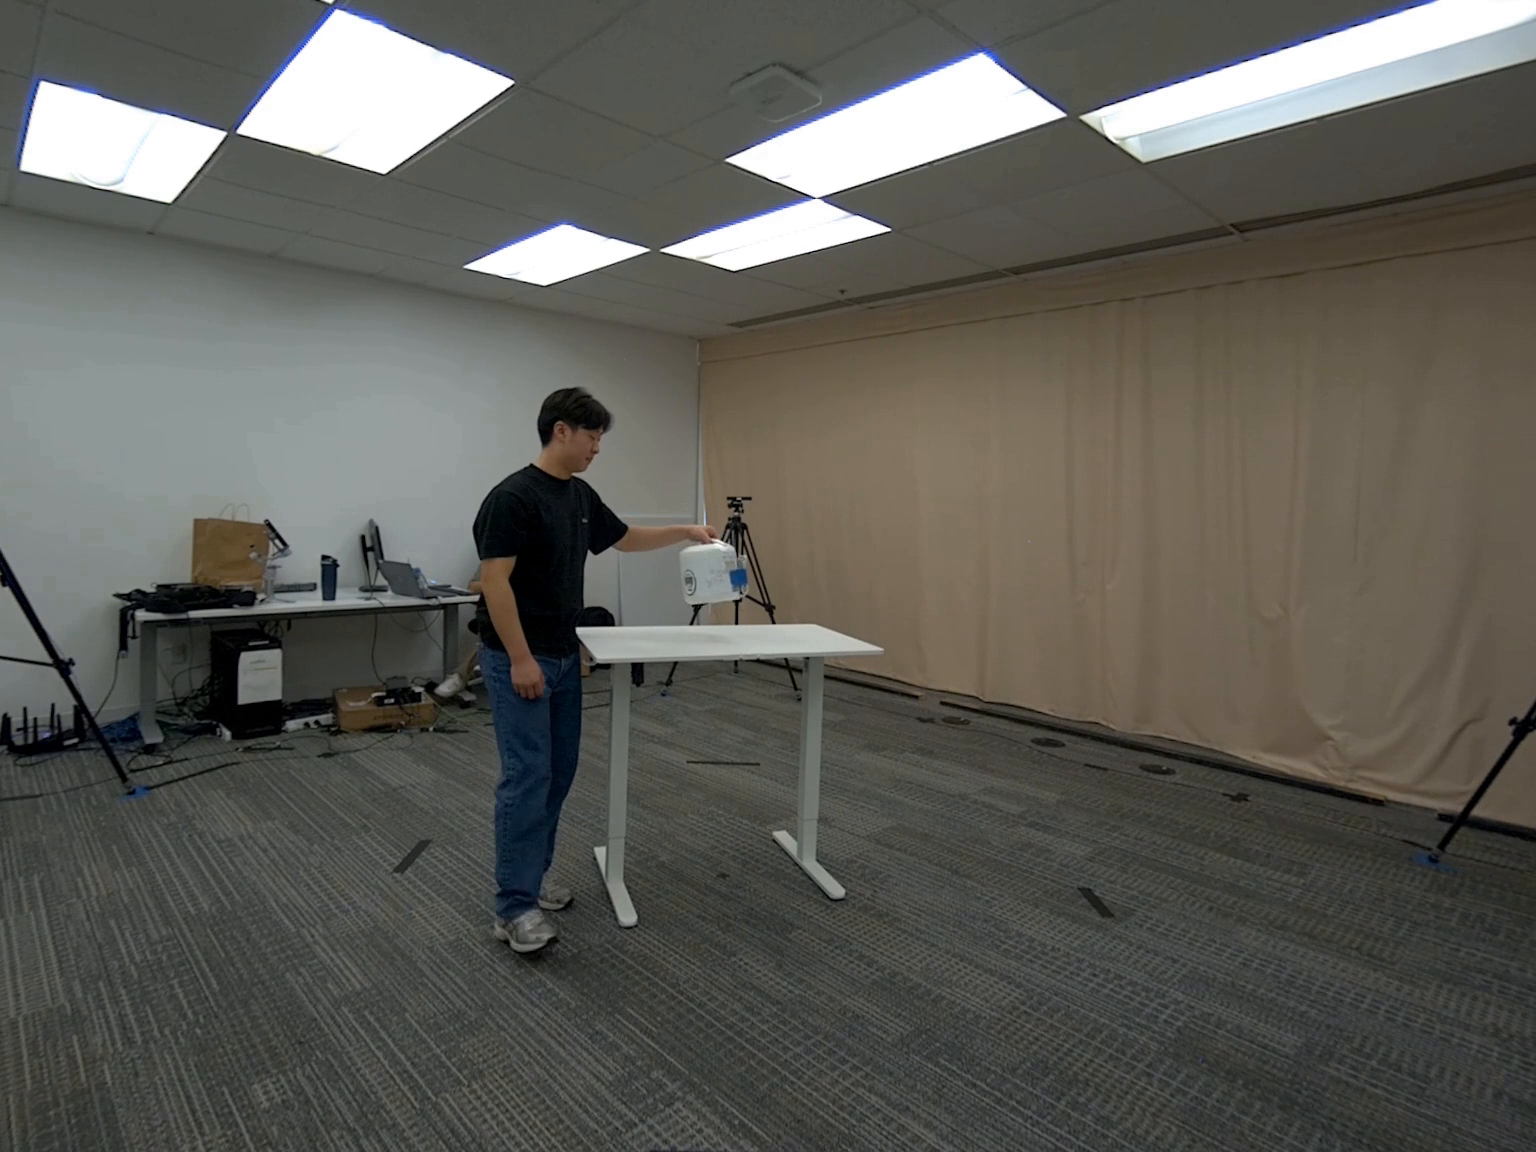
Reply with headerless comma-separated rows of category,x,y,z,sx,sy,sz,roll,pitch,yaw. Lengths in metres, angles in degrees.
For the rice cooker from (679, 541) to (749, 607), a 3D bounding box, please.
rice cooker,-0.217,-0.019,3.045,0.225,0.233,0.212,-7,-3,42
